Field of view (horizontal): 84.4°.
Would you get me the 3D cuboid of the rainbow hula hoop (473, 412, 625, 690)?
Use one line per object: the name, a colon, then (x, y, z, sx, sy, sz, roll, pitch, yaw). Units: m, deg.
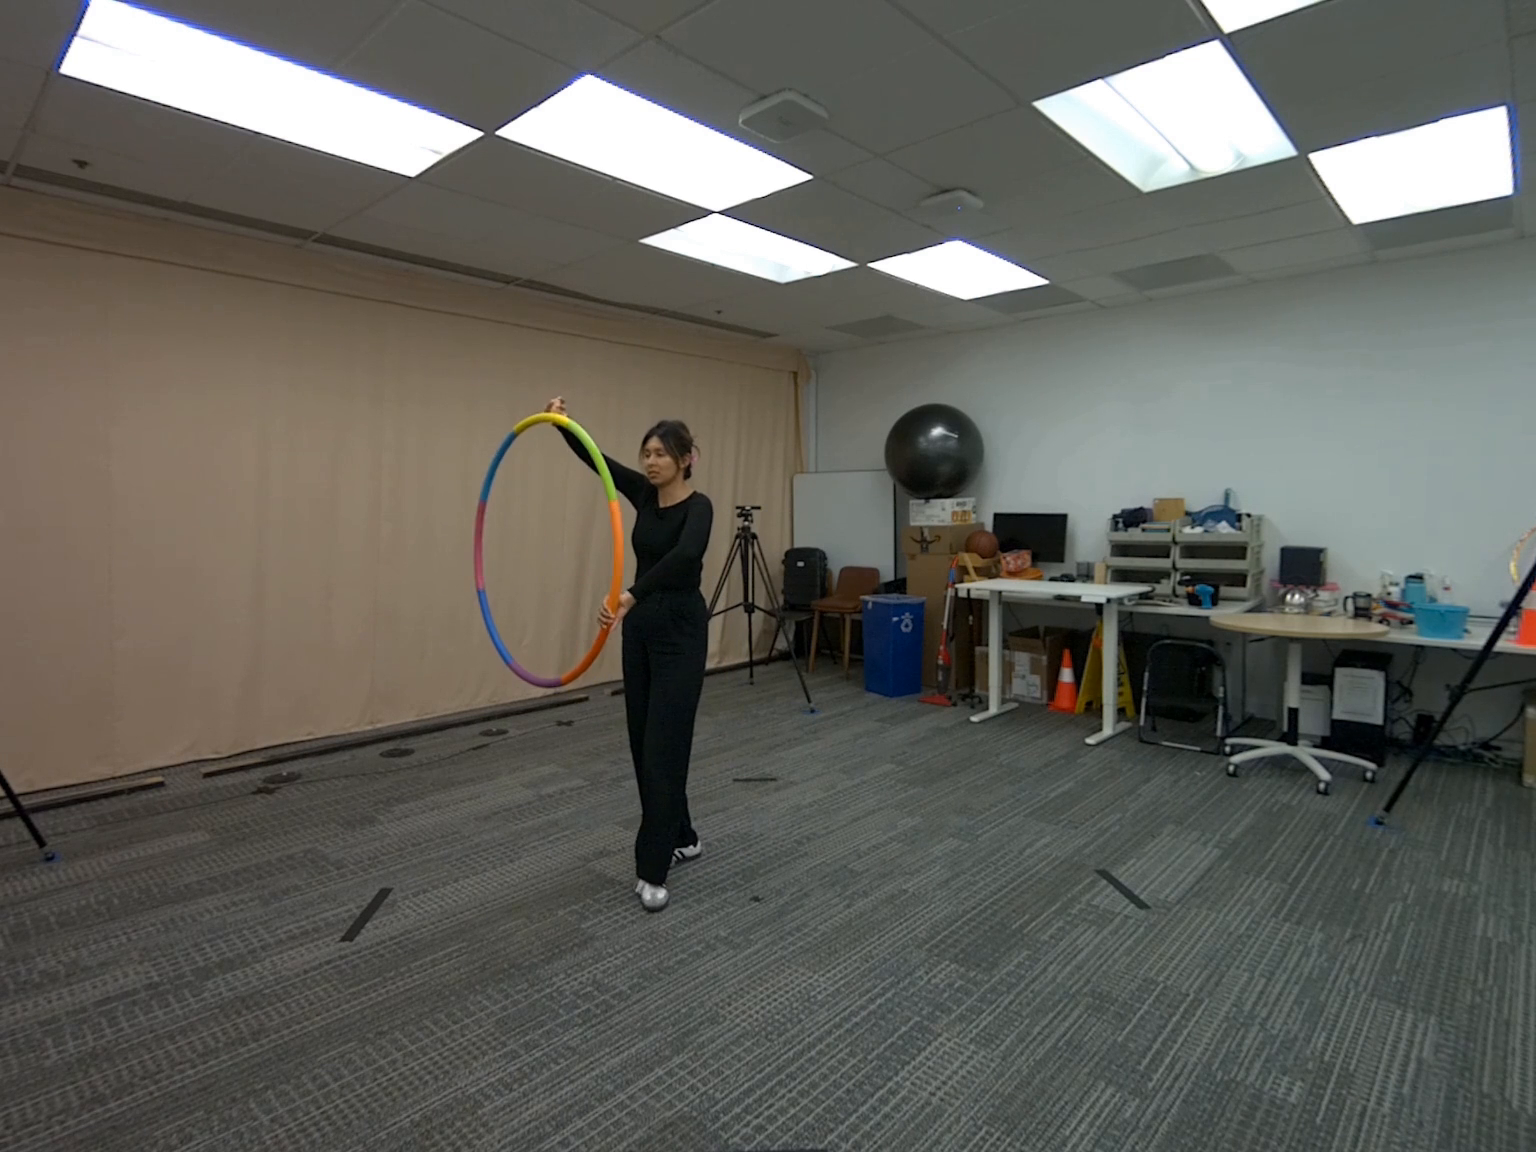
rainbow hula hoop: (-0.813, -0.088, 3.050, 0.050, 0.984, 1.018, 0, 3, -44)
